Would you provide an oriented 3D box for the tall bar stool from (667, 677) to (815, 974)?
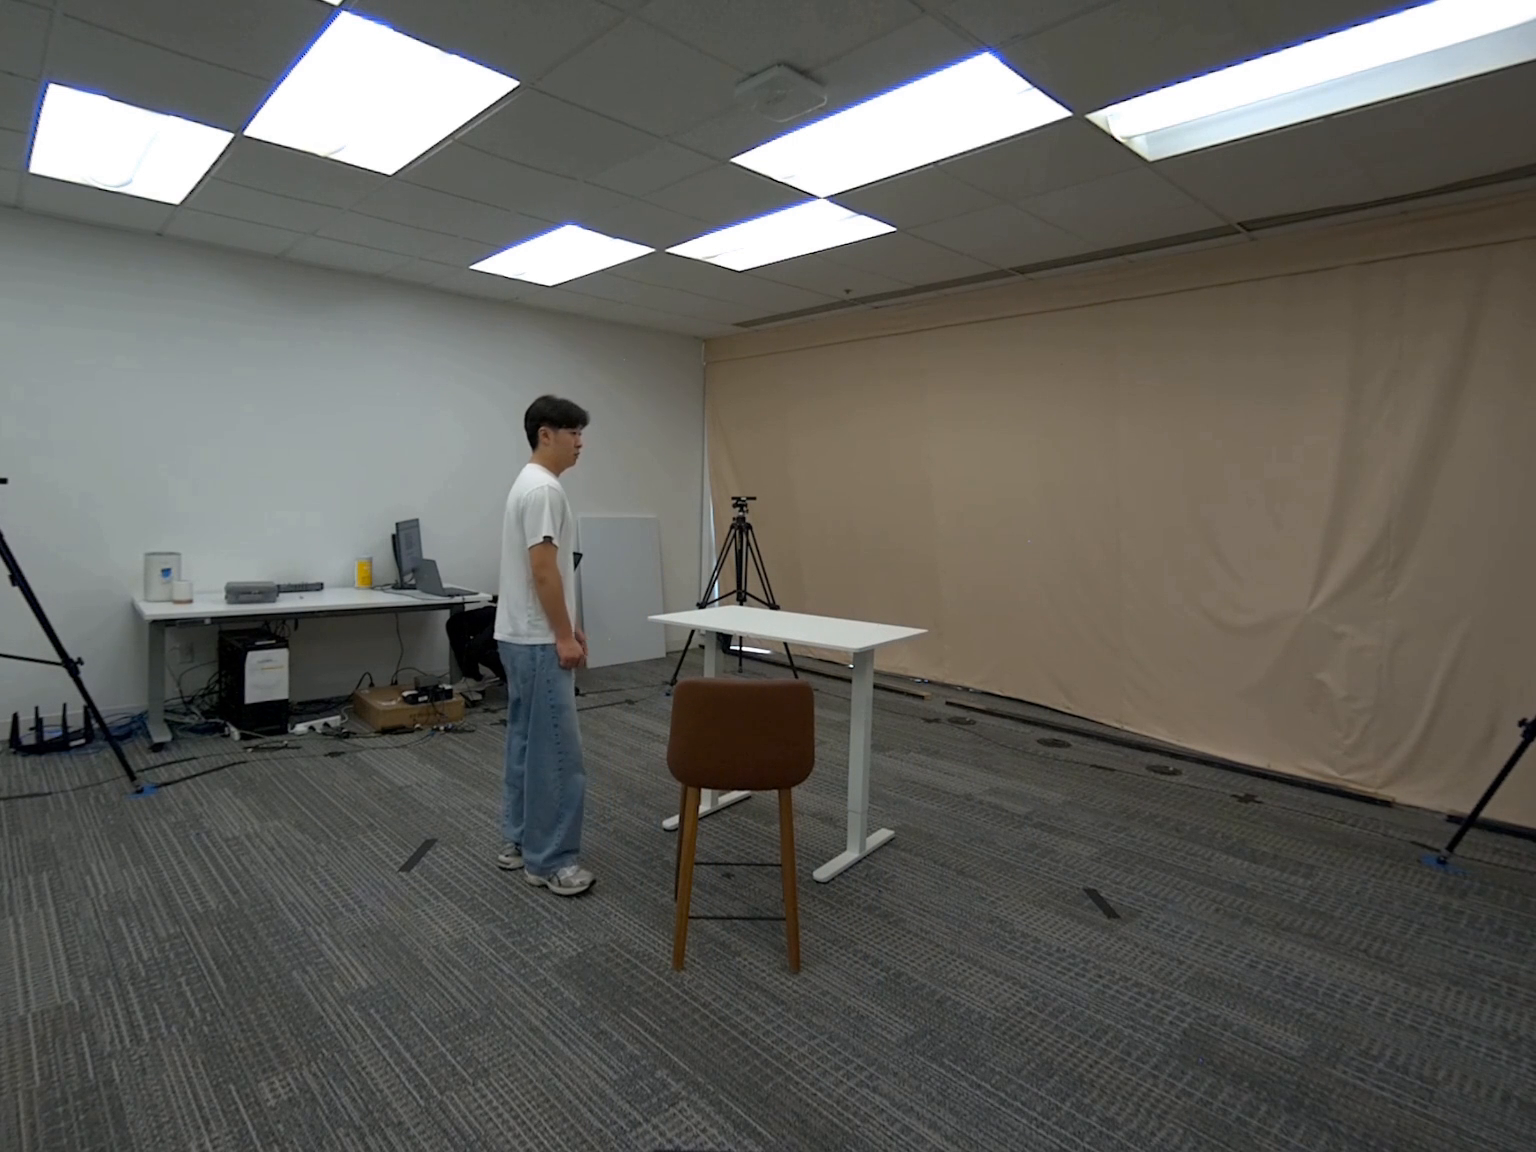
[{"bbox_3d":[-0.106,0.713,2.663,0.455,0.886,0.471,1,5,-4],"label":"tall bar stool"}]
